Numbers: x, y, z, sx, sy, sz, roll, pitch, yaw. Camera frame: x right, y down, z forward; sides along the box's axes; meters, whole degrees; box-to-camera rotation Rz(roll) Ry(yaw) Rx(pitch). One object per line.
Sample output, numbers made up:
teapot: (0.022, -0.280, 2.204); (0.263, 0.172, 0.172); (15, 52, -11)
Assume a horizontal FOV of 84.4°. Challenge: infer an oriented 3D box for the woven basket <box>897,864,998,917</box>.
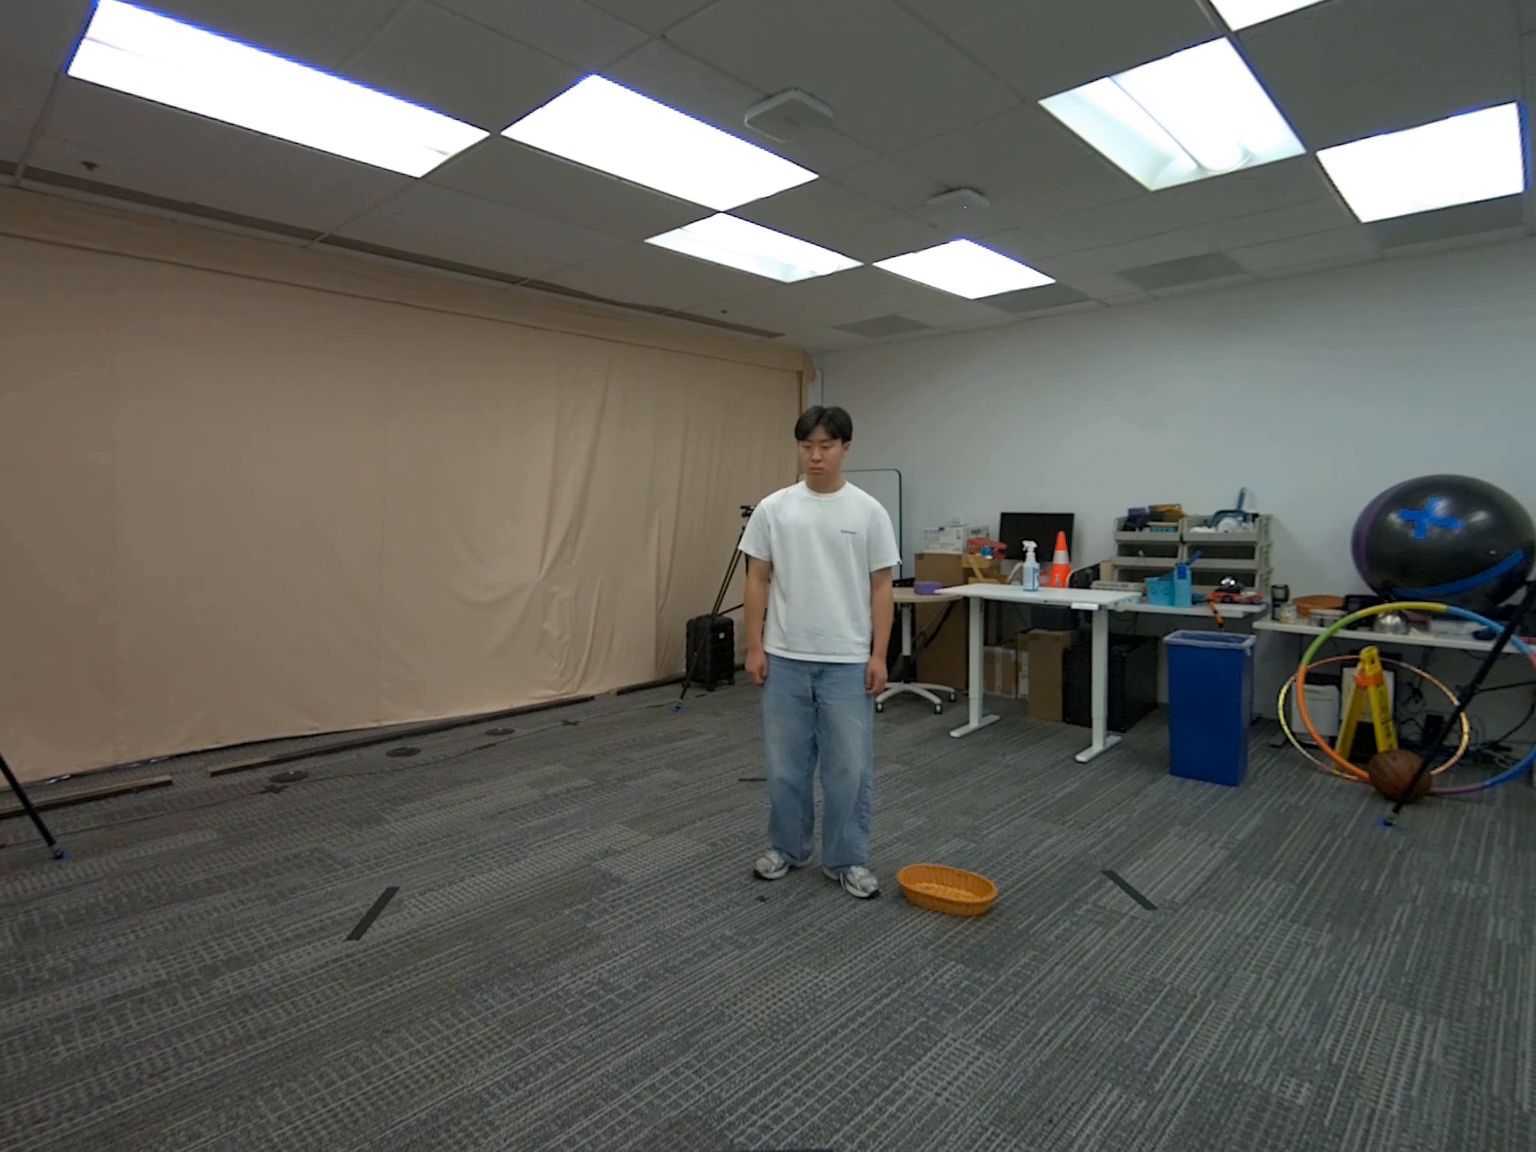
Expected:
woven basket: (0.626, 1.103, 2.957); (0.361, 0.073, 0.245); (2, 4, 35)
